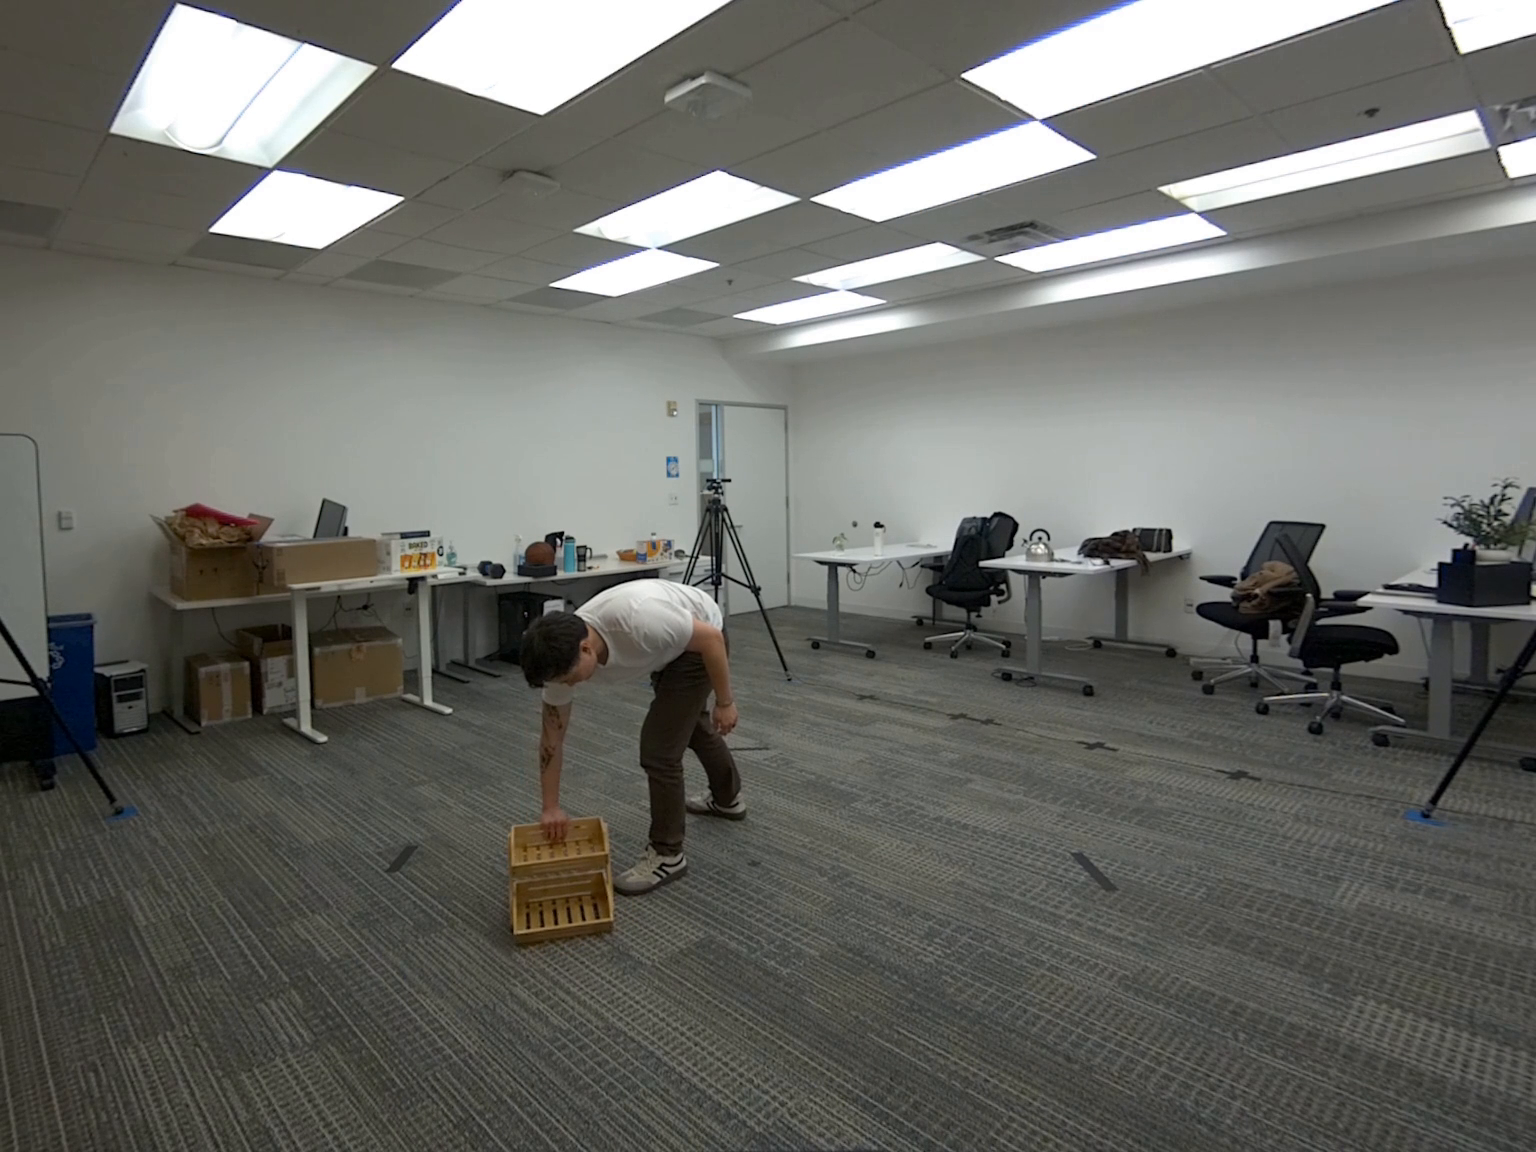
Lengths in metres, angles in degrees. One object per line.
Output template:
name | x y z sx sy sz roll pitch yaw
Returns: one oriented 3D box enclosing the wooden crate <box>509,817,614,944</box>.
wooden crate | -0.662 0.963 2.737 0.320 0.272 0.307 -2 4 -16
